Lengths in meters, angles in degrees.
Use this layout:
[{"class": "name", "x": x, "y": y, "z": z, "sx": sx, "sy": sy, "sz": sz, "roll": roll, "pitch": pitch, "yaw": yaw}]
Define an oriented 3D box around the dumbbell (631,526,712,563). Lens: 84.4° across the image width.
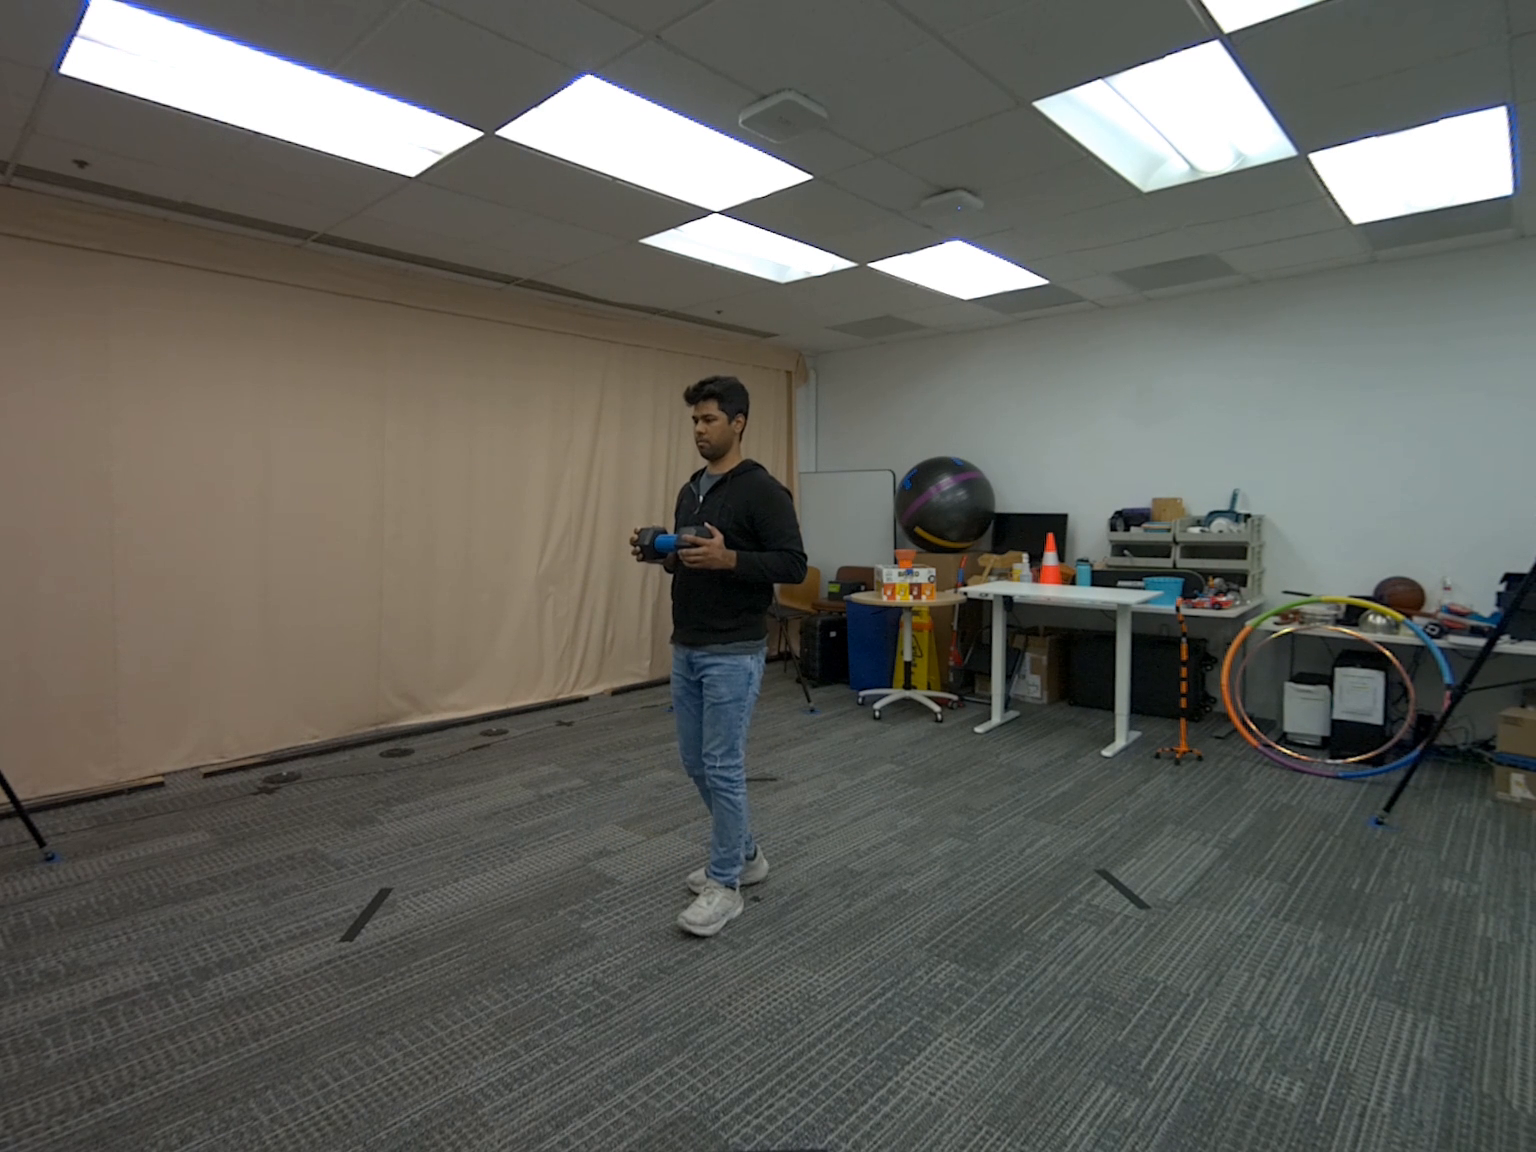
[{"class": "dumbbell", "x": -0.303, "y": -0.099, "z": 2.742, "sx": 0.303, "sy": 0.120, "sz": 0.108, "roll": 3, "pitch": 39, "yaw": 48}]
